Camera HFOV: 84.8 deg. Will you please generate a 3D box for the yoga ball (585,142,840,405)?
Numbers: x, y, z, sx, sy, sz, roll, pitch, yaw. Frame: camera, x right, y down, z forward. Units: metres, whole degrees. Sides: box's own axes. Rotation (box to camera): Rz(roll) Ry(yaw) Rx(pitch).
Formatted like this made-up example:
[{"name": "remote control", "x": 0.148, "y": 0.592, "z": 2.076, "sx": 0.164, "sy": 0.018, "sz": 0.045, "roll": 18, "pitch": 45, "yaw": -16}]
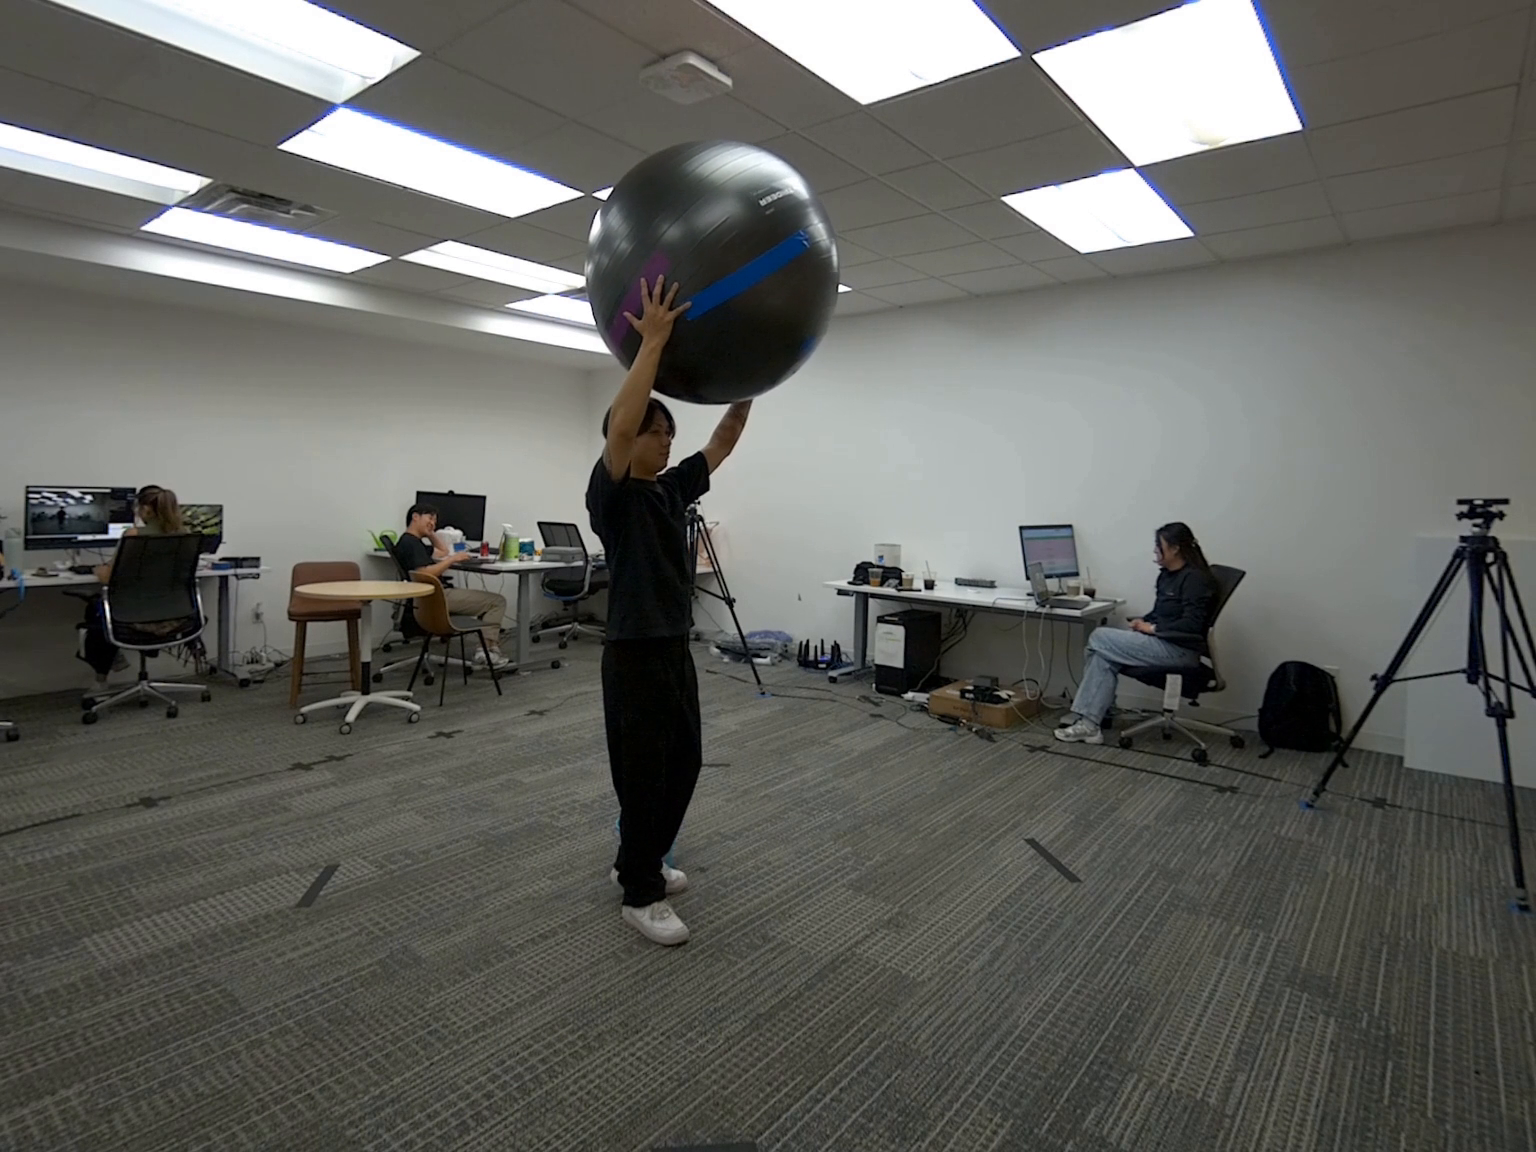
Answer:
[{"name": "yoga ball", "x": -0.176, "y": -0.897, "z": 2.559, "sx": 0.757, "sy": 0.755, "sz": 0.762, "roll": 1, "pitch": 4, "yaw": -2}]
